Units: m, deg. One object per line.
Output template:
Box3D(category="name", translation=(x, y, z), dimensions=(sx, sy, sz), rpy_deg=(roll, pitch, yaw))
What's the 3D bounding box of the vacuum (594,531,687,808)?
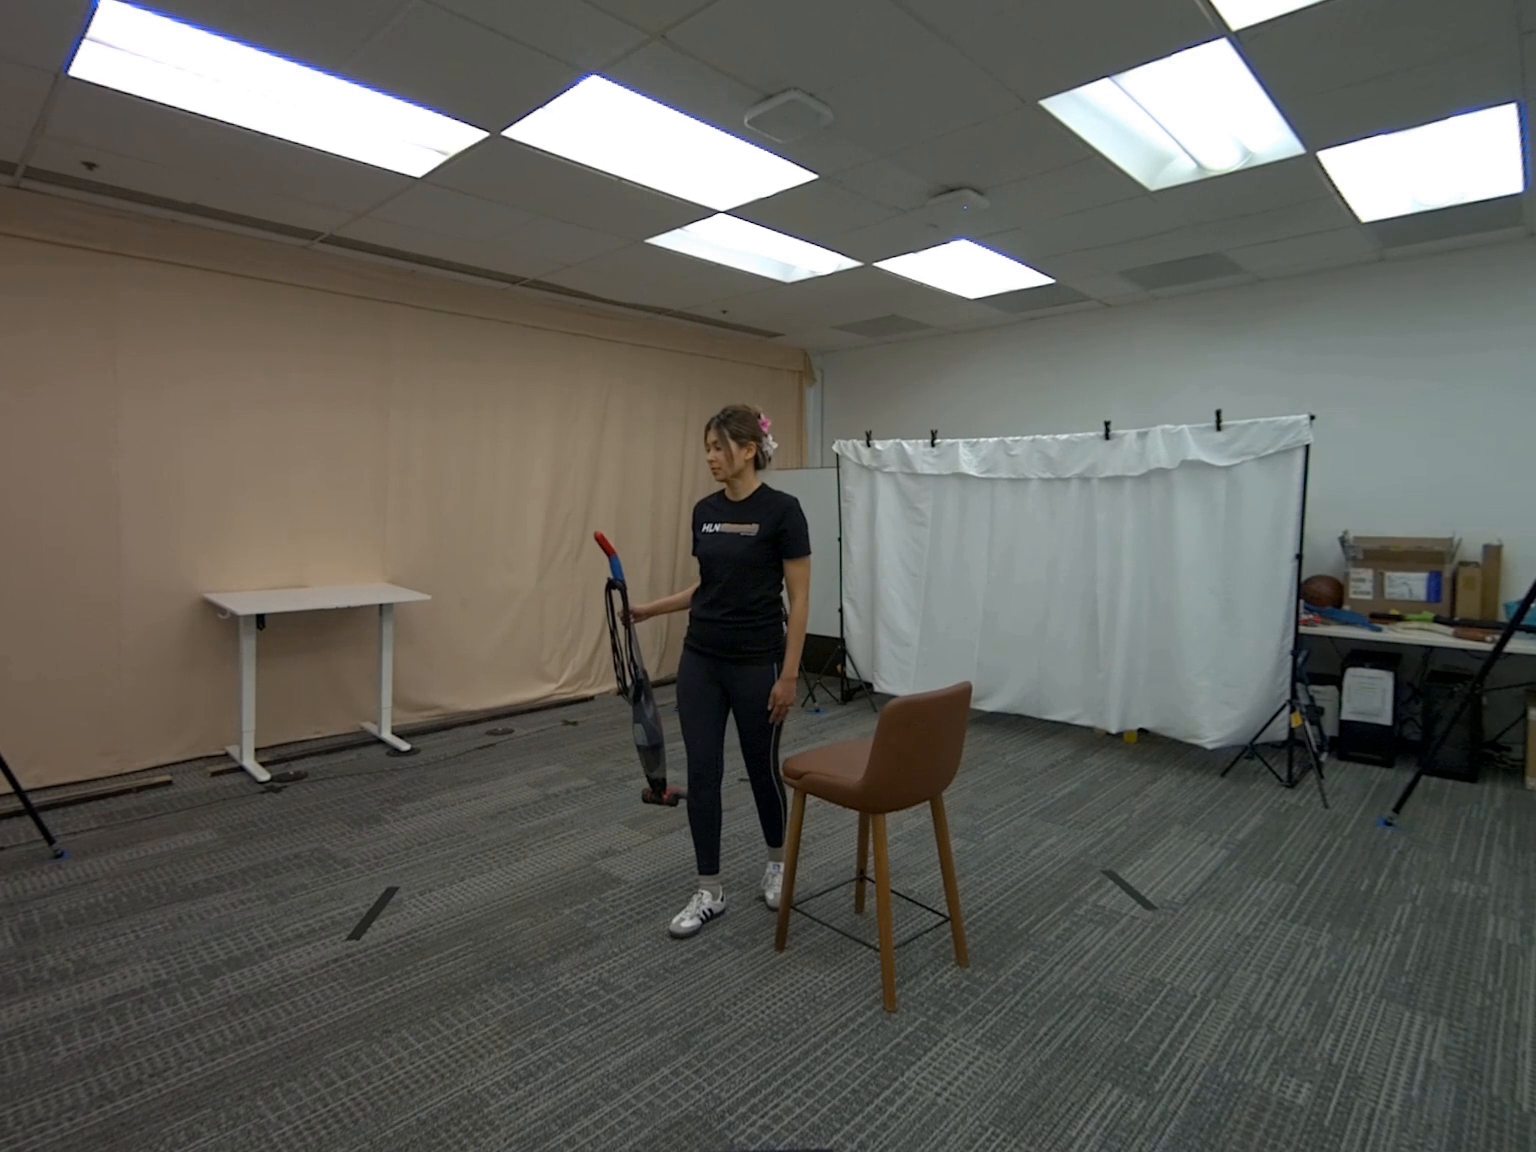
Box3D(category="vacuum", translation=(-0.473, 0.347, 2.947), dimensions=(0.260, 1.035, 0.142), rpy_deg=(-1, 20, 32))
